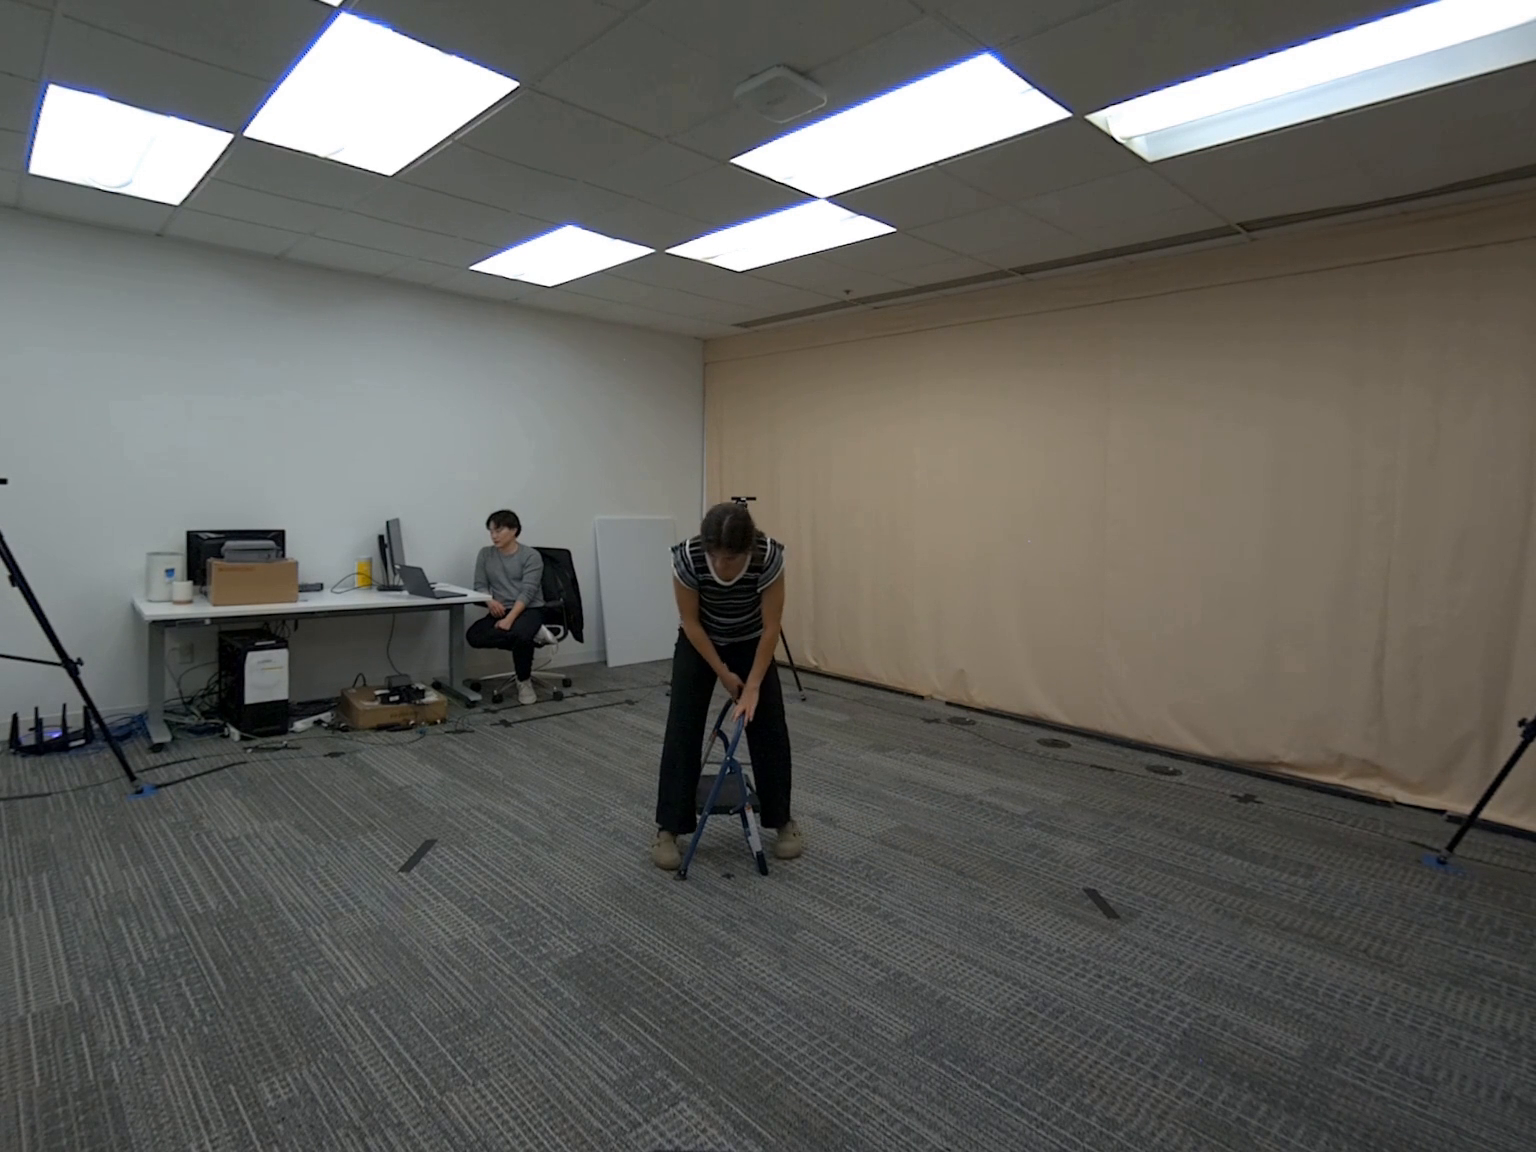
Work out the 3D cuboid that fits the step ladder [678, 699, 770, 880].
[{"bbox_3d":[-0.202,0.791,3.275,0.347,0.605,0.434,1,3,-9],"label":"step ladder"}]
